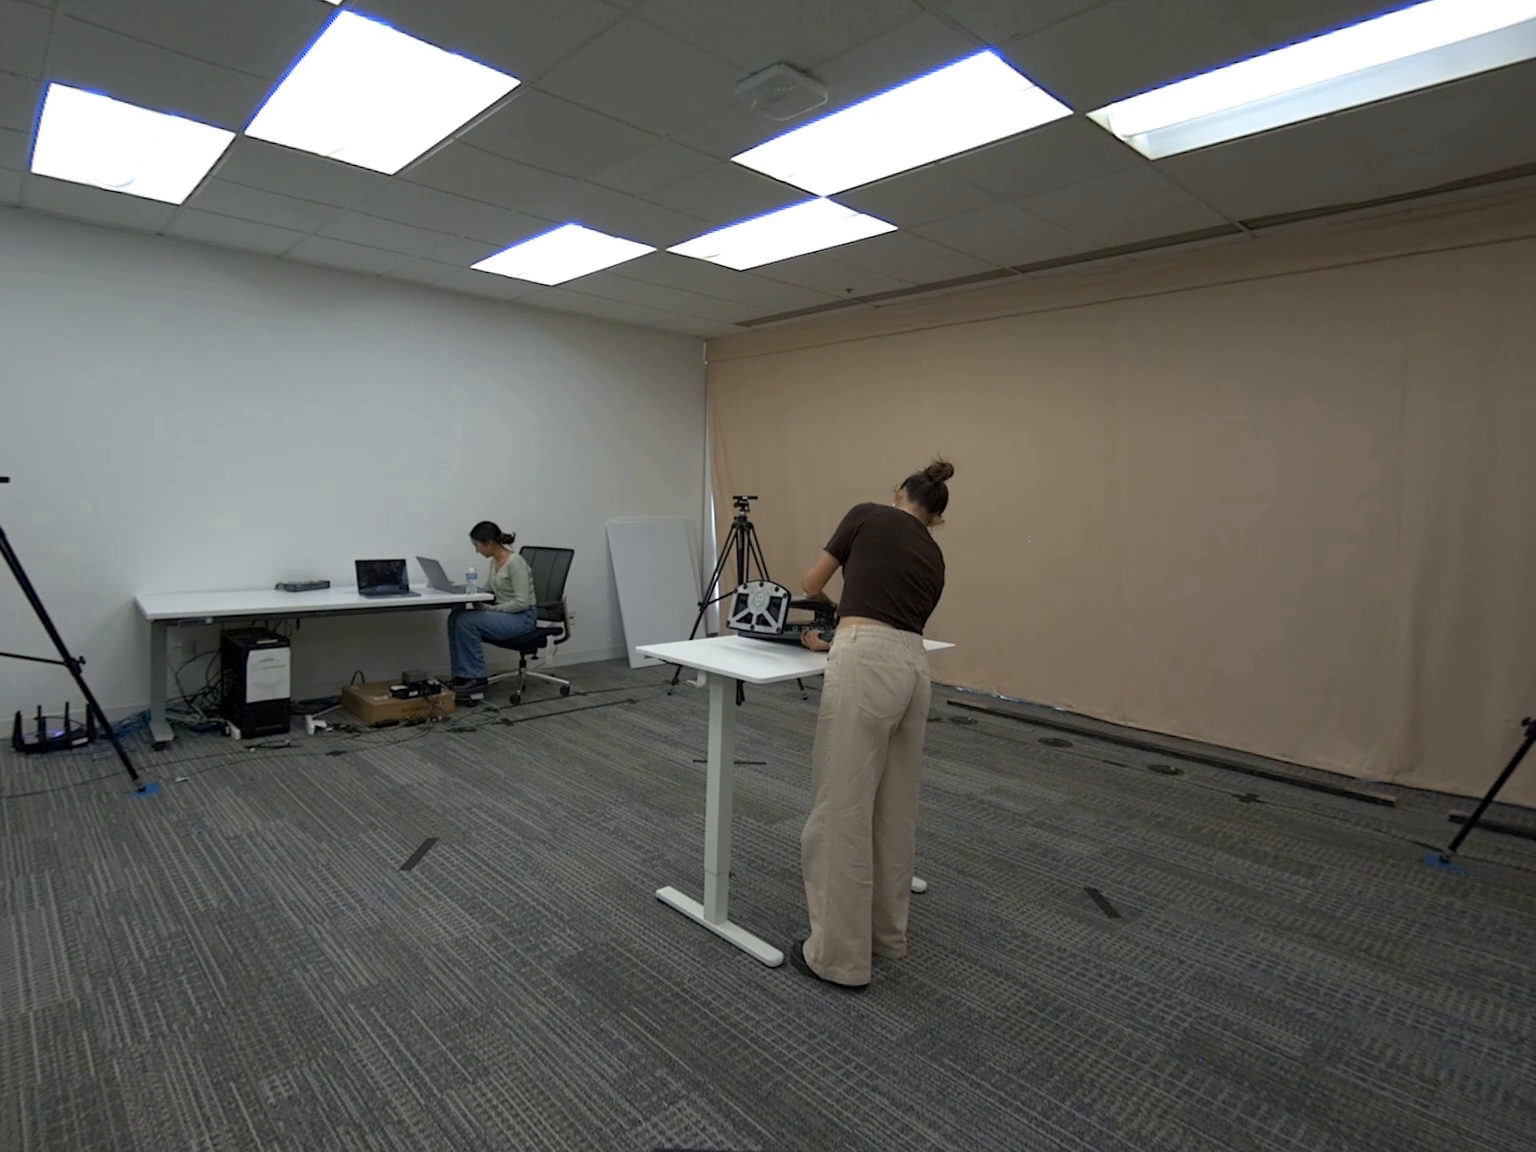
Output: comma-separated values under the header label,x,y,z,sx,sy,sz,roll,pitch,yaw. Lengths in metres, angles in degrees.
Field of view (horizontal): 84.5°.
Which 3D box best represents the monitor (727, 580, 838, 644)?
label,x,y,z,sx,sy,sz,roll,pitch,yaw
monitor,0.130,0.155,2.969,0.507,0.188,0.552,17,-9,-42
